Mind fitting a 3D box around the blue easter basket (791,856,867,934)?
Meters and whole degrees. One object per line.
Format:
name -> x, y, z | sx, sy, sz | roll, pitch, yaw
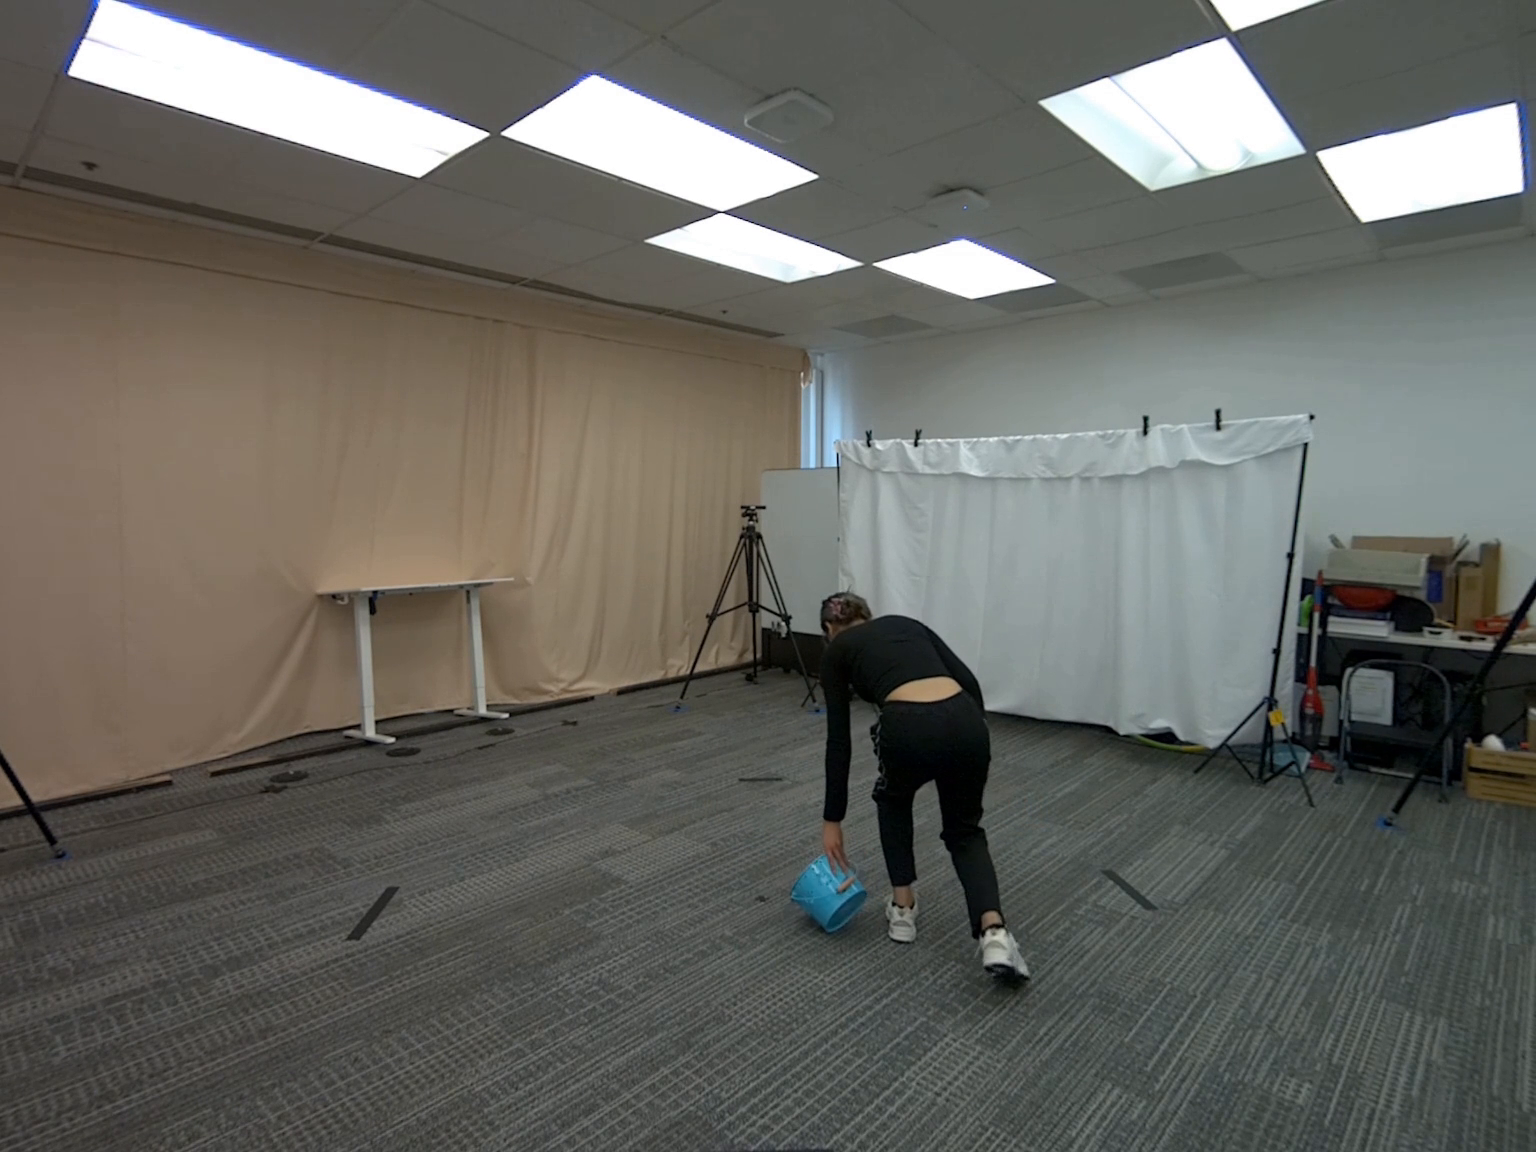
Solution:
blue easter basket -> 0.206, 1.047, 2.780 | 0.236, 0.242, 0.161 | -4, 33, -42
